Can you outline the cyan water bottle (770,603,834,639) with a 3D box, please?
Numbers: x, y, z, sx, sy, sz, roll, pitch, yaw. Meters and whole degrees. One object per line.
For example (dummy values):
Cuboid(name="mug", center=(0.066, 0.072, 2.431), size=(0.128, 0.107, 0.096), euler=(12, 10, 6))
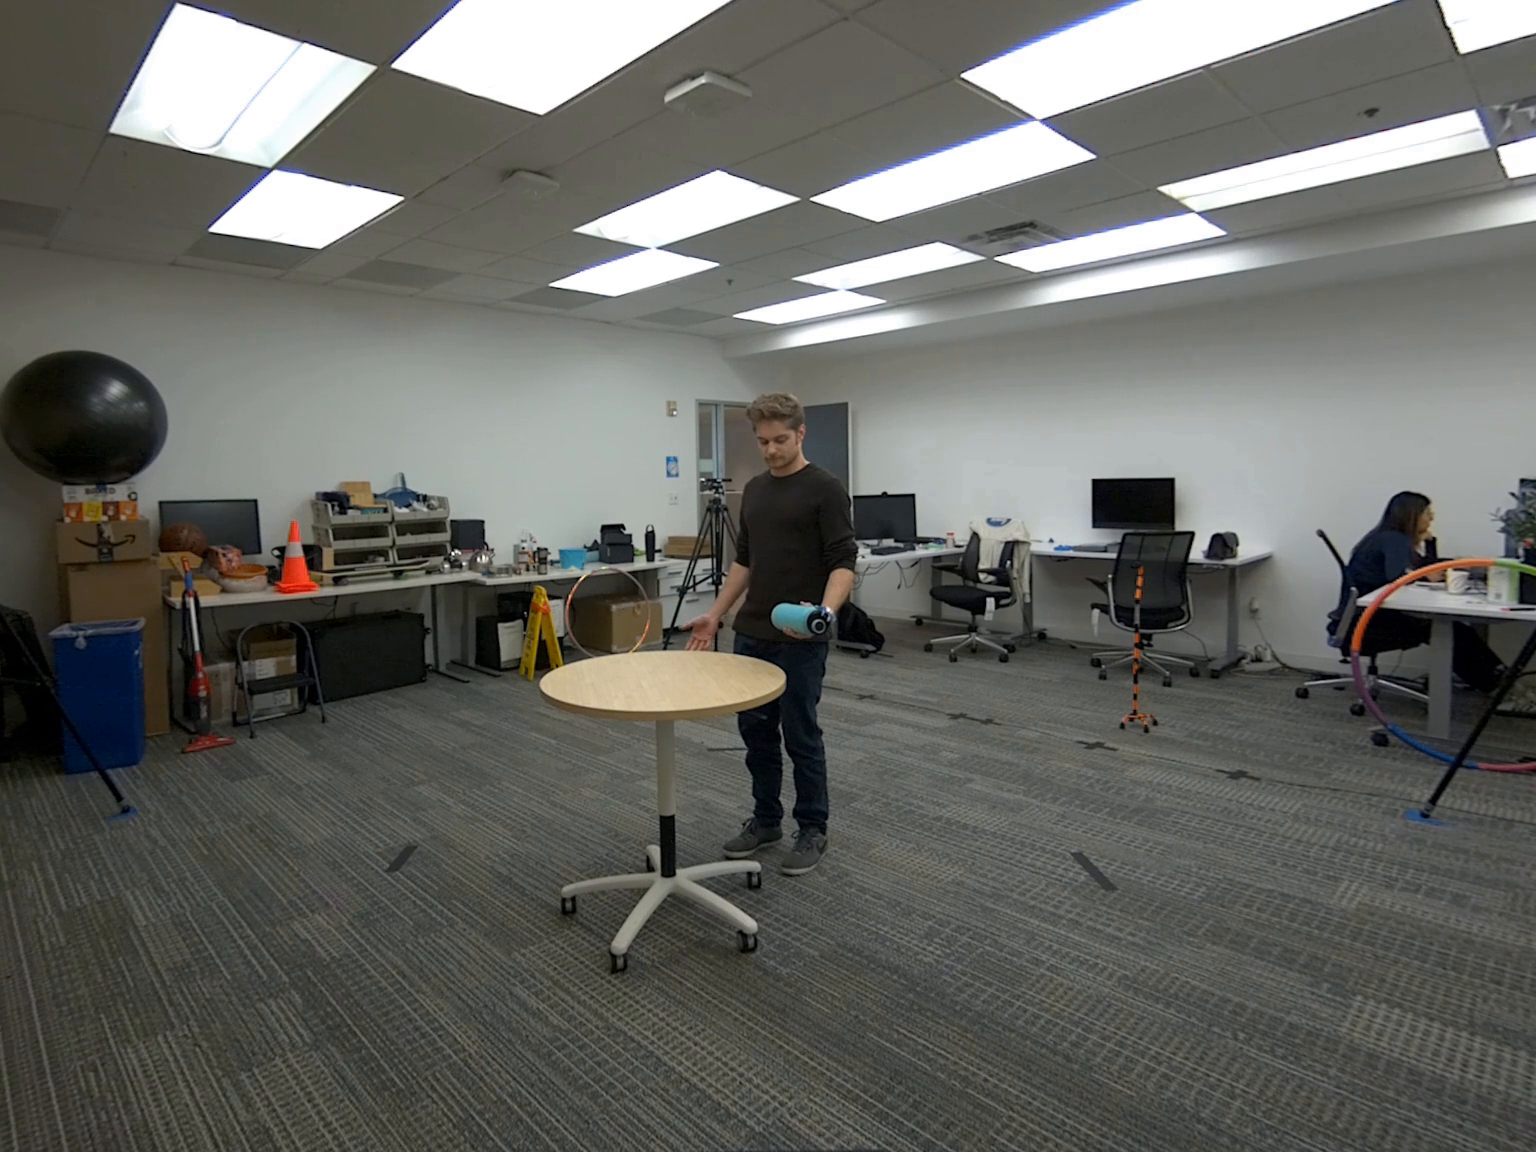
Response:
Cuboid(name="cyan water bottle", center=(0.107, 0.141, 2.750), size=(0.090, 0.092, 0.289), euler=(-3, 1, -24))
